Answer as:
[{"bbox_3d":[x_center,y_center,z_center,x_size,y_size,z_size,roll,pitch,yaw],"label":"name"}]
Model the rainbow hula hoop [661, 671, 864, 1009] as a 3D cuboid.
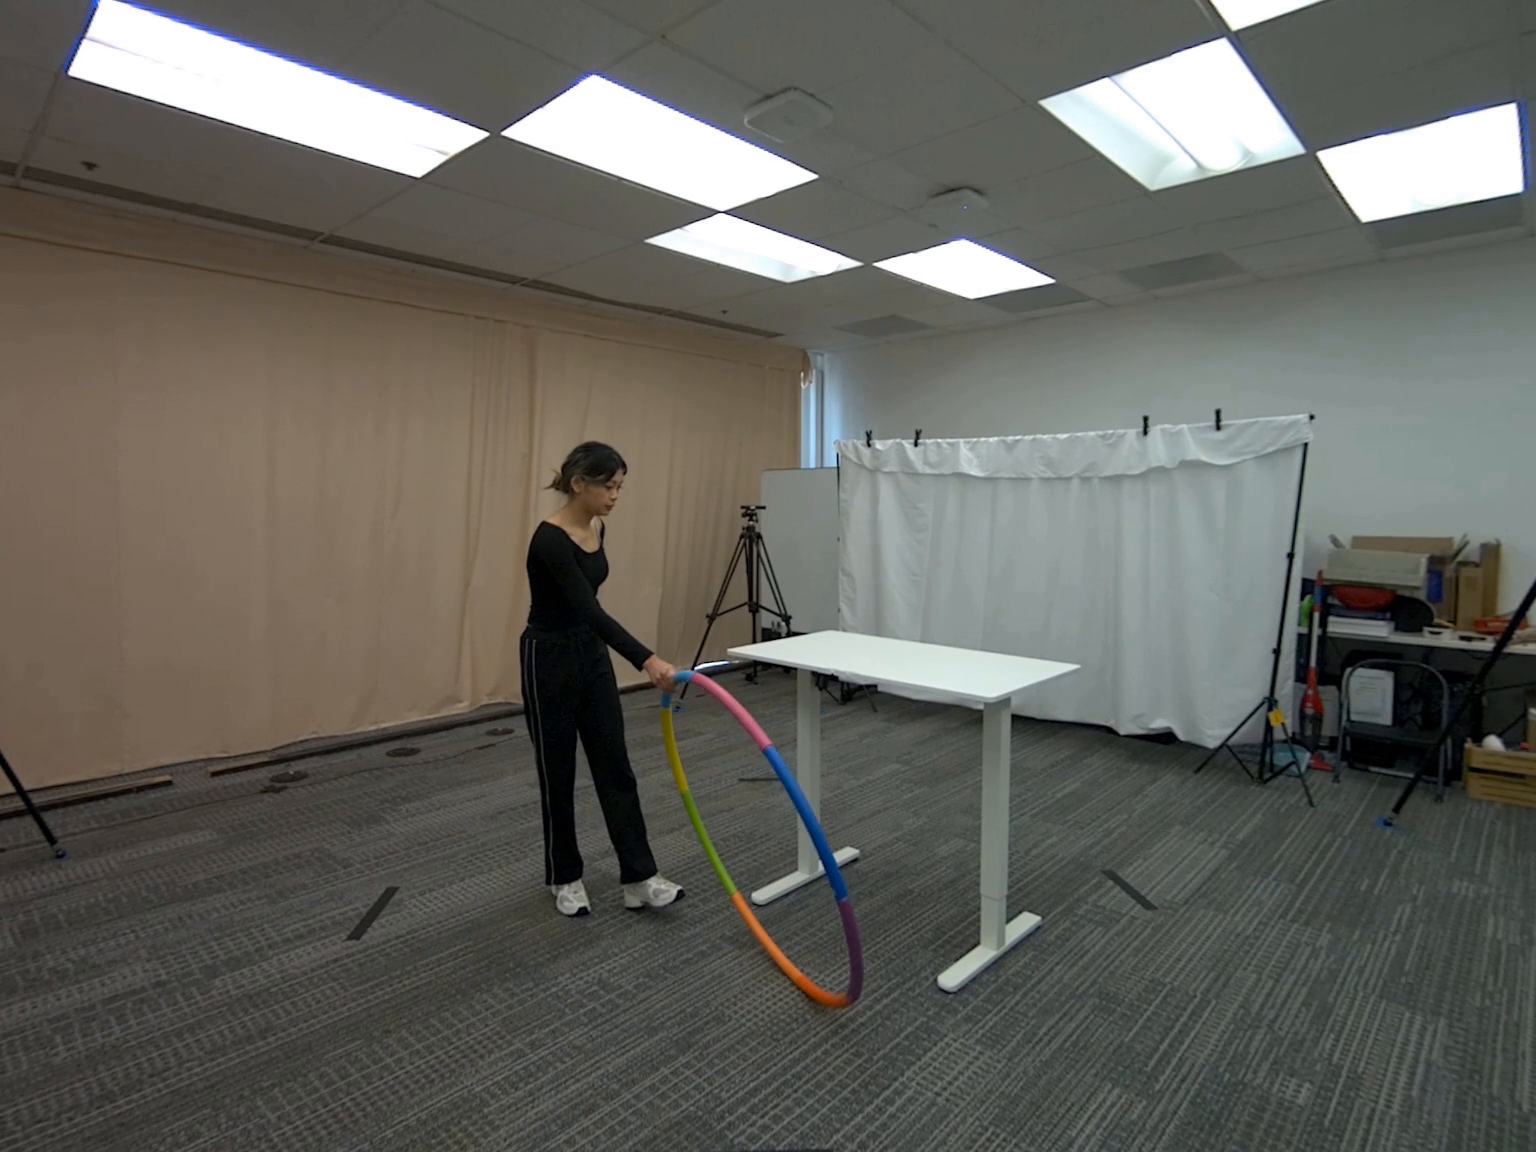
[{"bbox_3d":[-0.045,0.724,2.376,0.035,0.969,1.005,-22,13,-25],"label":"rainbow hula hoop"}]
